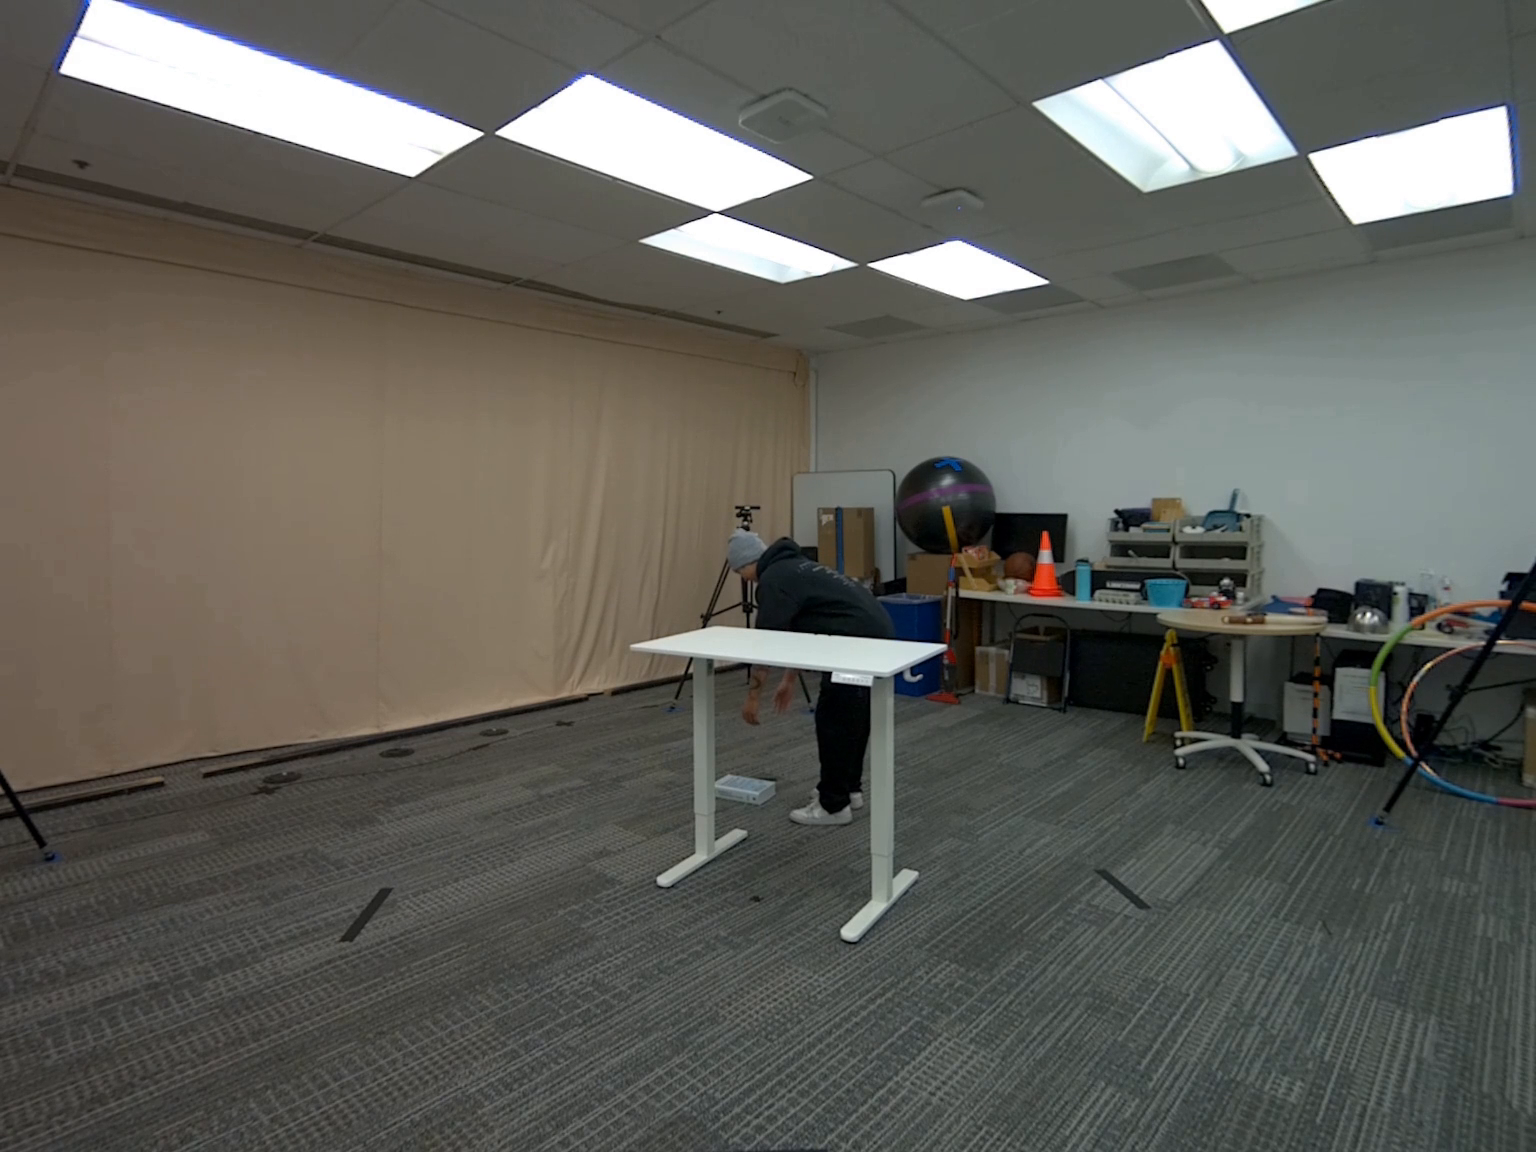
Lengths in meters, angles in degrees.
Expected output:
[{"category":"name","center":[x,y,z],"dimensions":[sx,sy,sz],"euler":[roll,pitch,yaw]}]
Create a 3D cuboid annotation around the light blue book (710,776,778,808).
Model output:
[{"category":"light blue book","center":[-0.118,1.032,4.067],"dimensions":[0.268,0.059,0.186],"euler":[2,4,28]}]
